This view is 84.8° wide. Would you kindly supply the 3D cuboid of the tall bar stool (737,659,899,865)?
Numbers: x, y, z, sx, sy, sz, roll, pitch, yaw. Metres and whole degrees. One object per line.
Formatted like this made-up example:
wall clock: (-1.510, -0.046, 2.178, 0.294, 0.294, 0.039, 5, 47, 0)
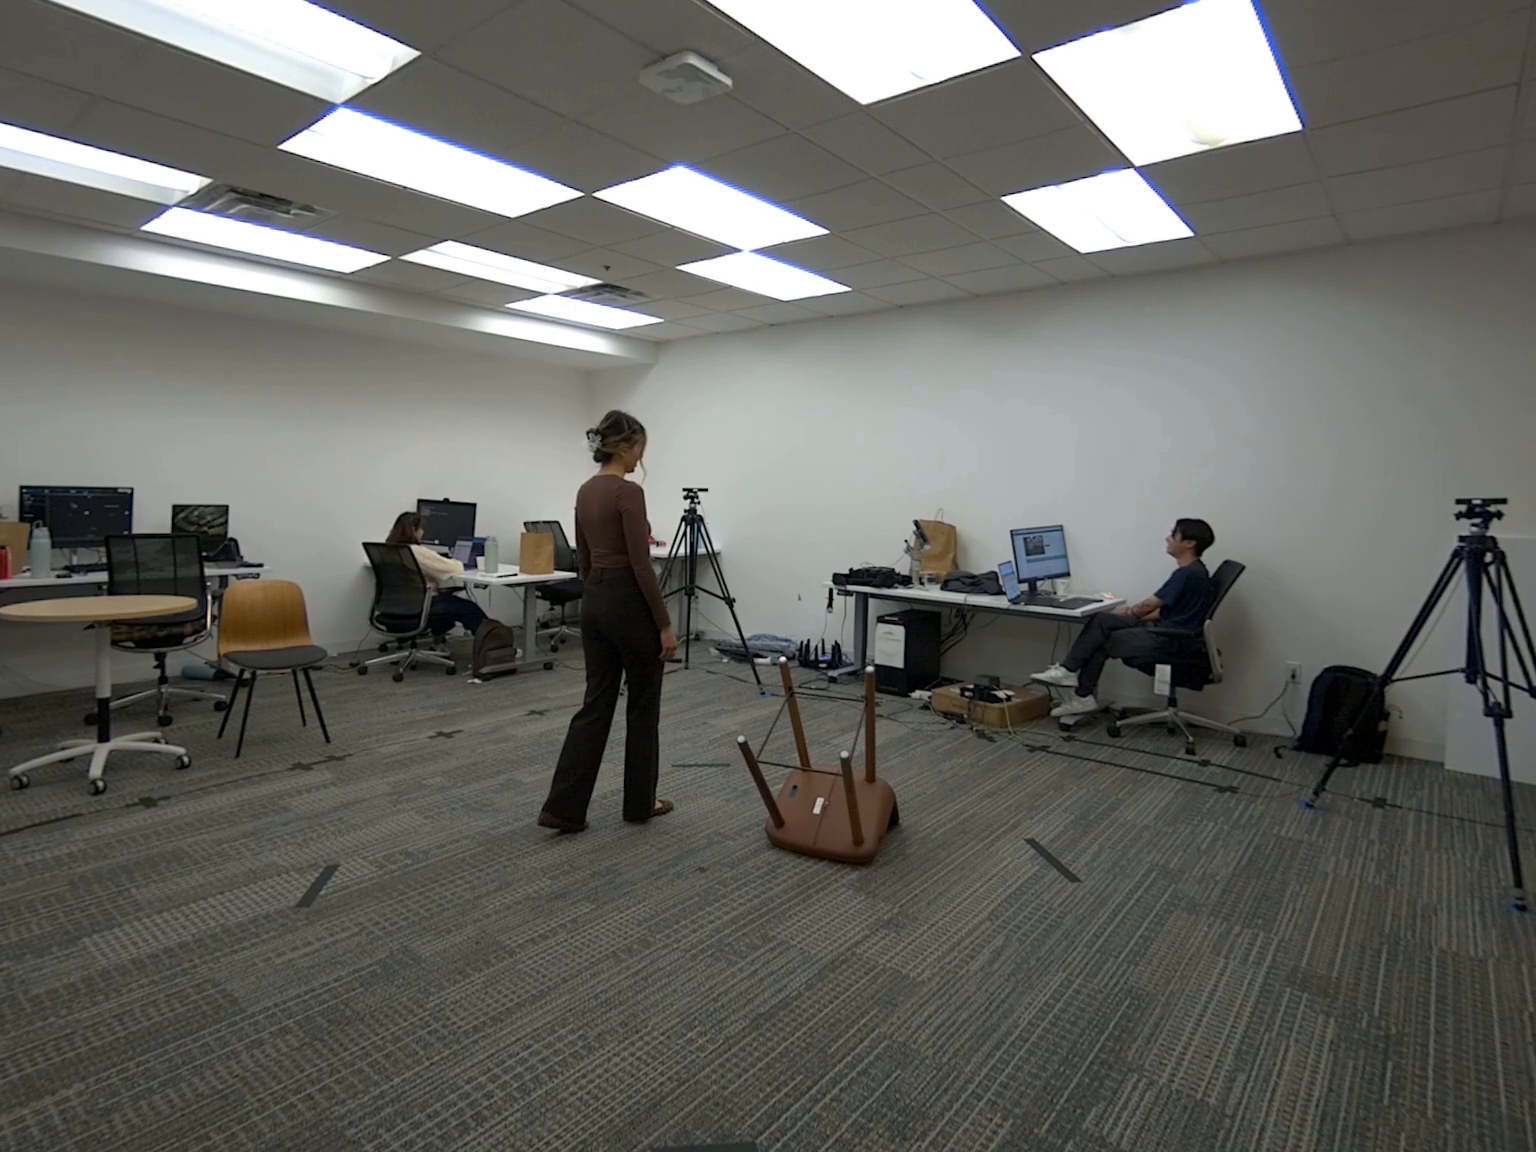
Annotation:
tall bar stool: (0.220, 0.807, 3.314, 0.468, 0.861, 0.471, 3, 38, 23)
